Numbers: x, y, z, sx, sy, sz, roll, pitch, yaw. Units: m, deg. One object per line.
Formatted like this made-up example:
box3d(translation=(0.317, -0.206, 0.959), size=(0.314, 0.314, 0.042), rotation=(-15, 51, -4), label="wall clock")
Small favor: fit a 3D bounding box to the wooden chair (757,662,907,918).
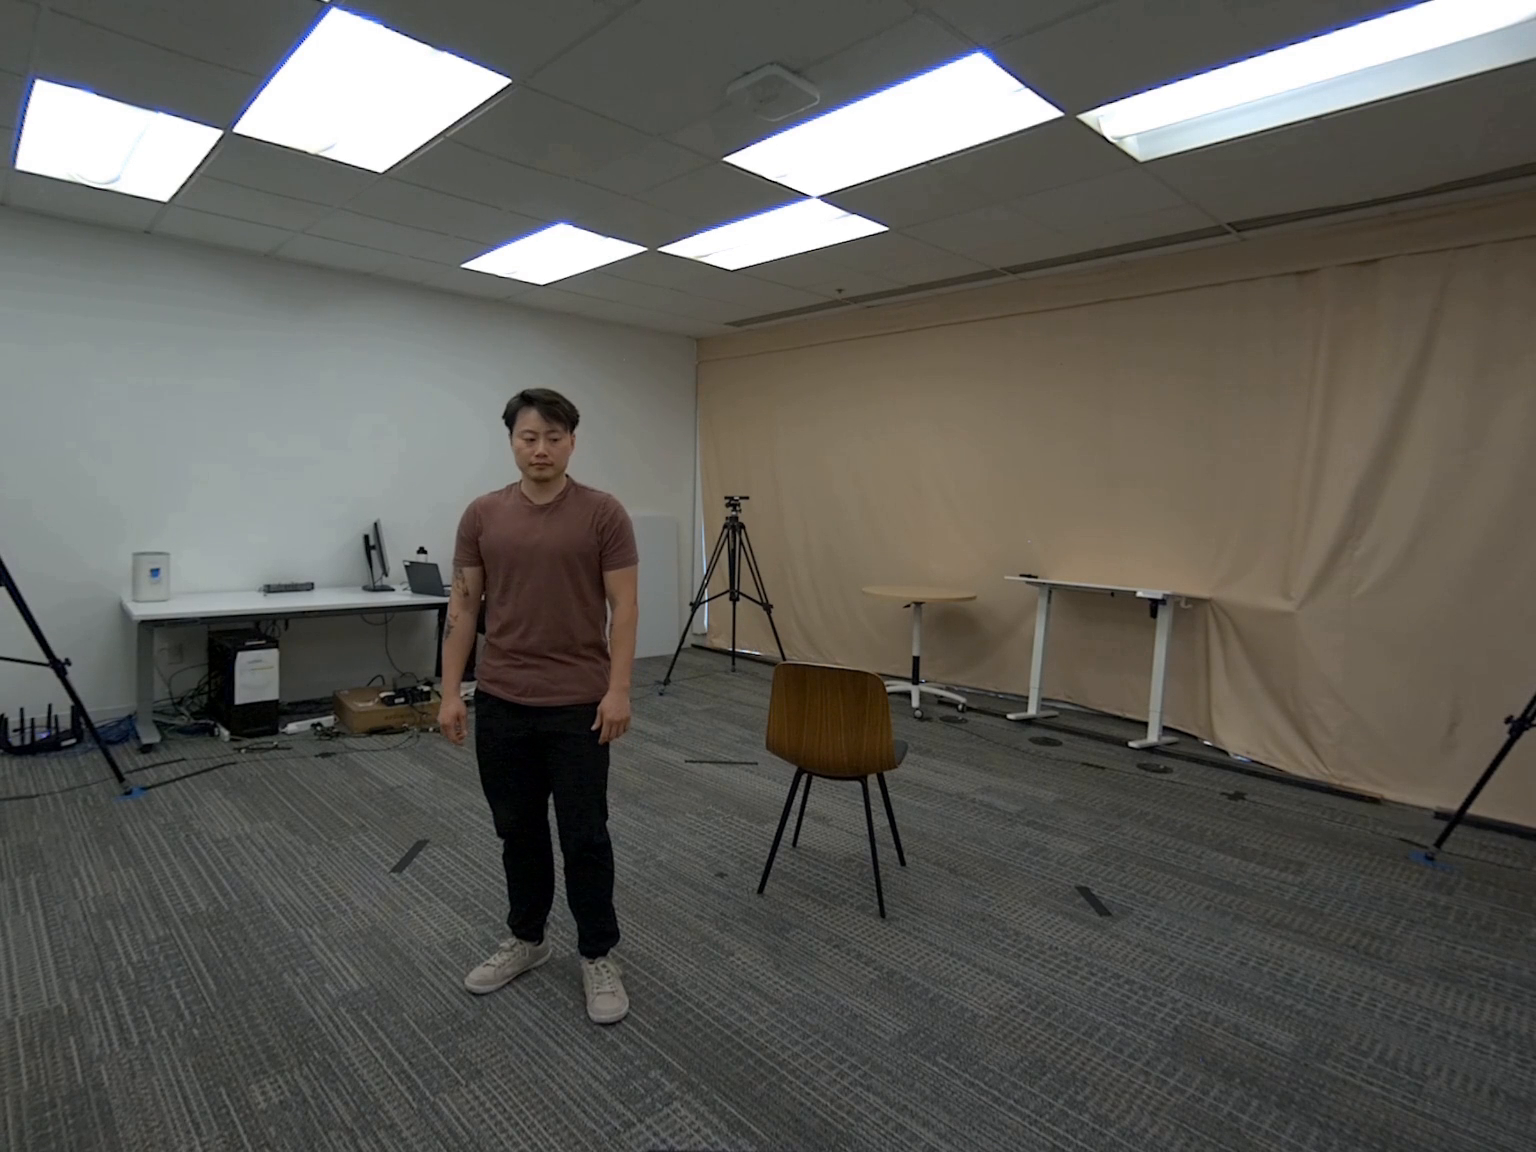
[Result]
box3d(translation=(0.248, 0.688, 3.072), size=(0.486, 0.873, 0.517), rotation=(2, 7, 20), label="wooden chair")
